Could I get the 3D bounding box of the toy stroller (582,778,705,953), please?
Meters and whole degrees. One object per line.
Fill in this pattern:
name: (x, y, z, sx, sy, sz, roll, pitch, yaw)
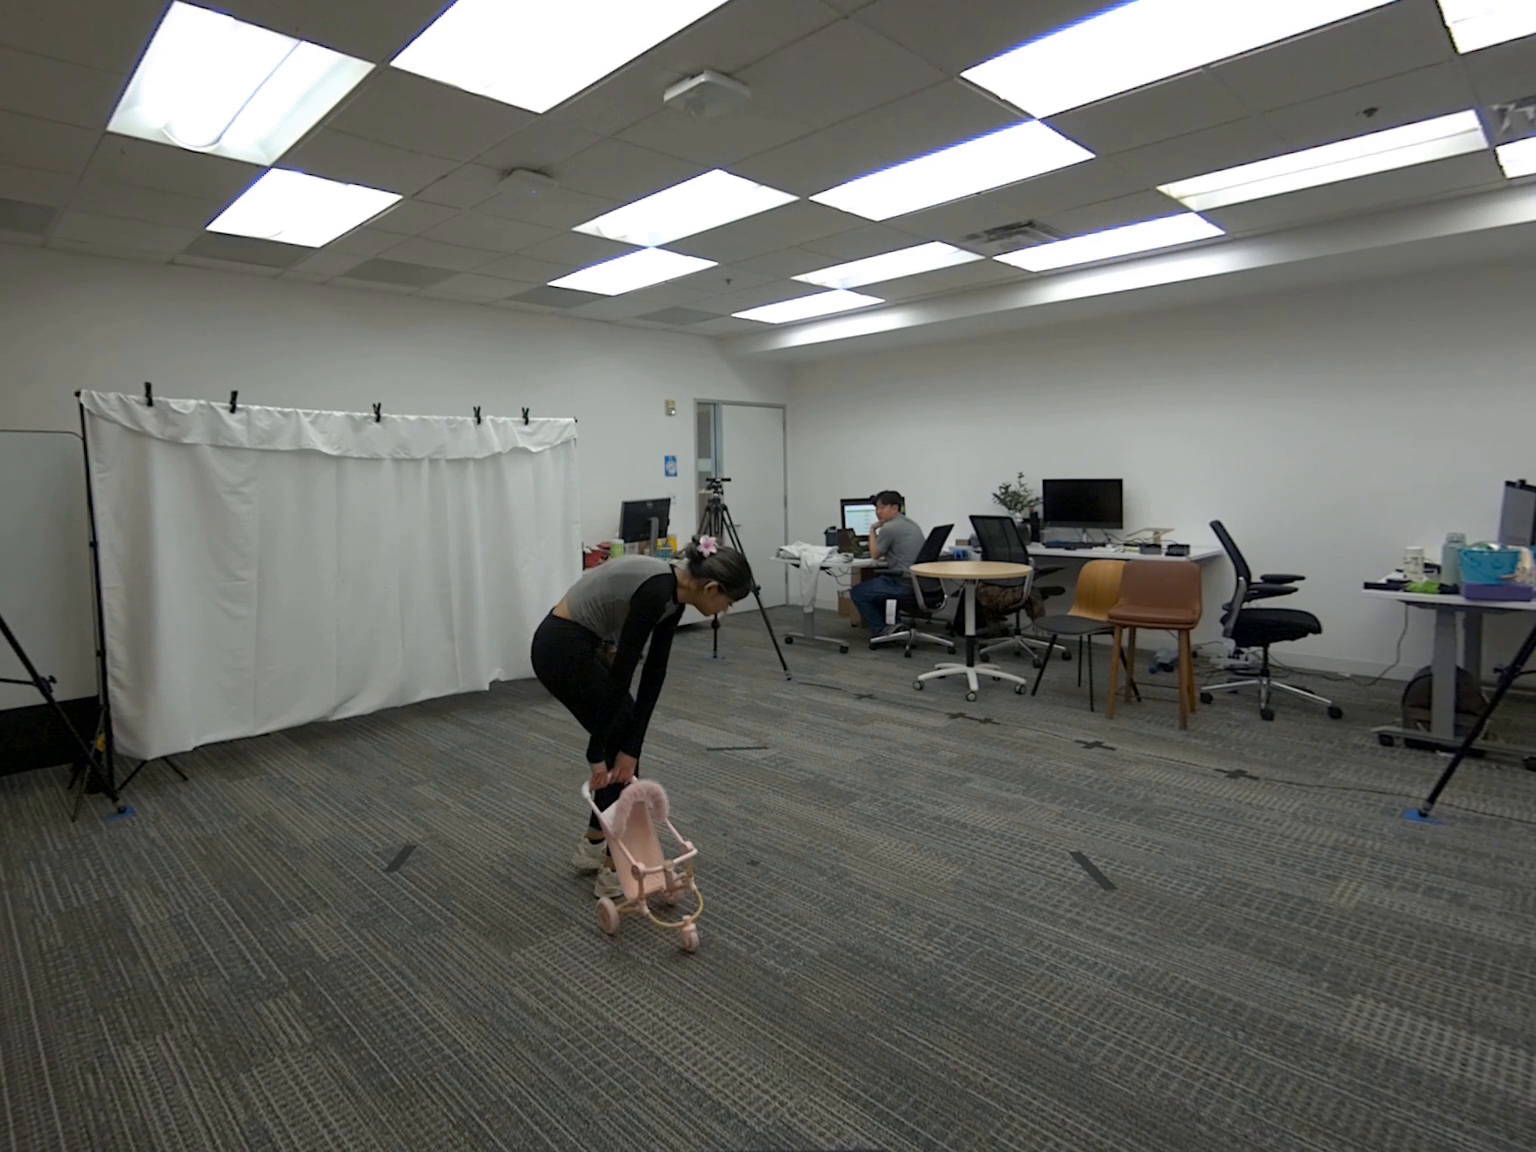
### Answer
toy stroller: (-0.373, 0.873, 2.661, 0.274, 0.539, 0.347, -8, -8, -38)
